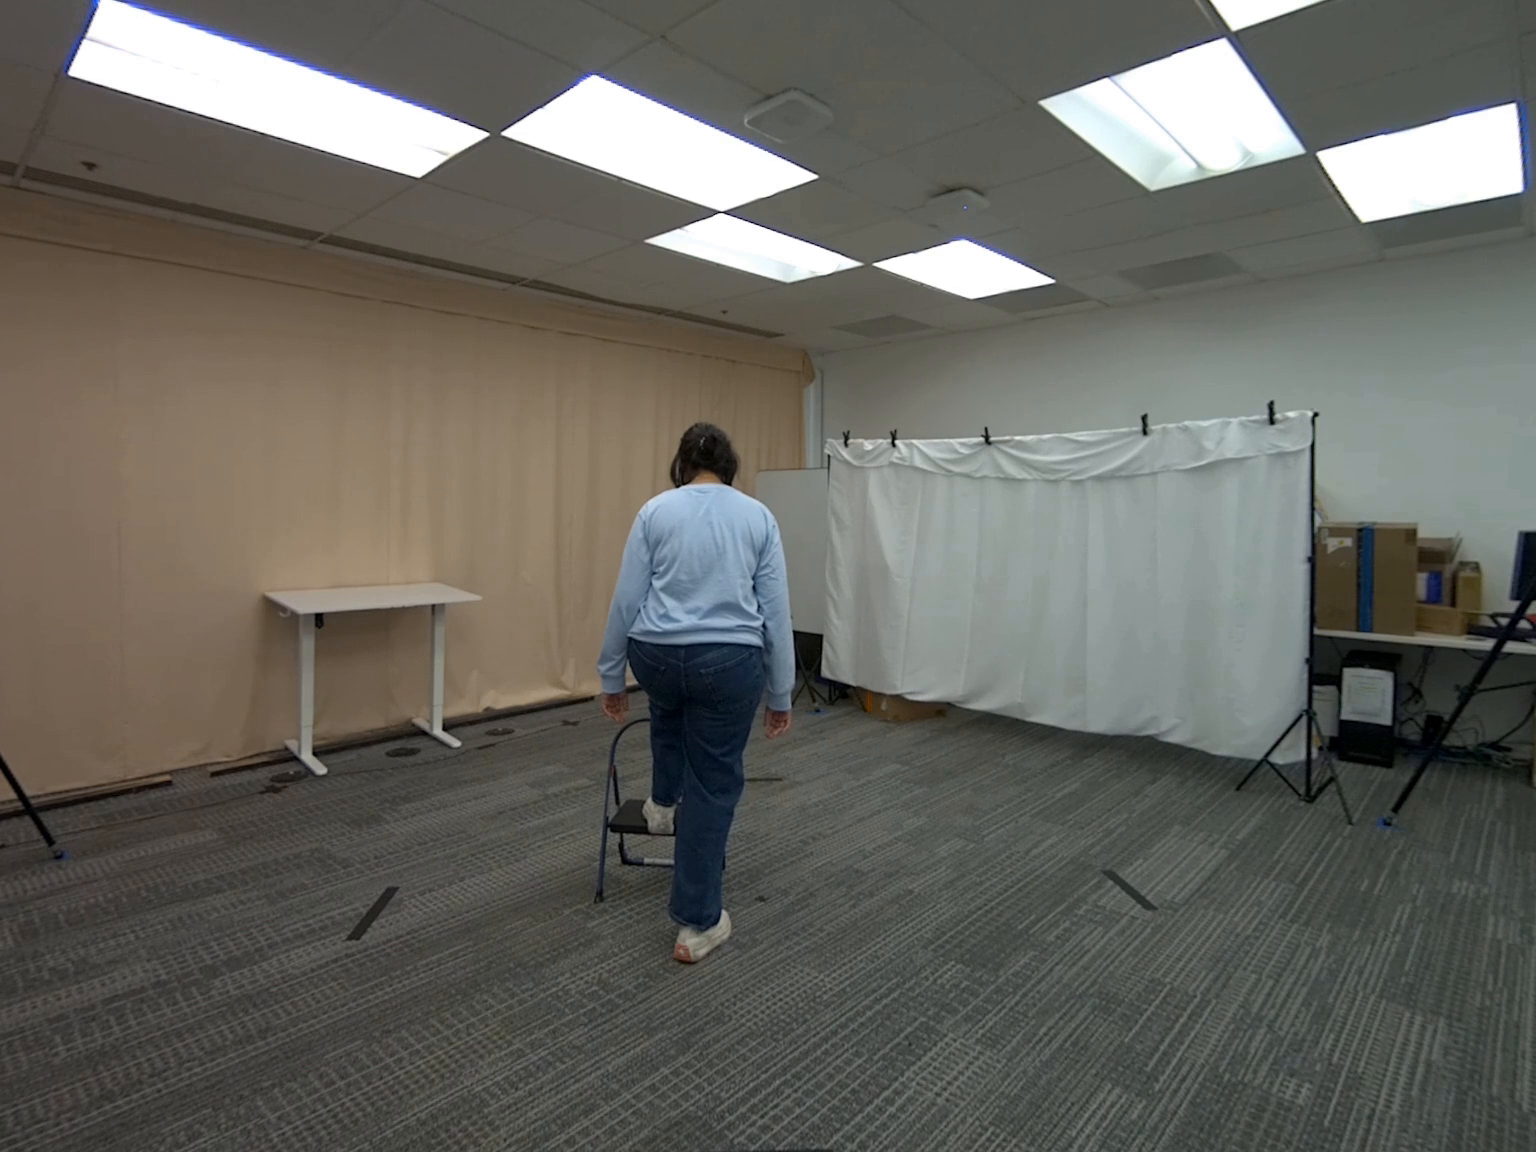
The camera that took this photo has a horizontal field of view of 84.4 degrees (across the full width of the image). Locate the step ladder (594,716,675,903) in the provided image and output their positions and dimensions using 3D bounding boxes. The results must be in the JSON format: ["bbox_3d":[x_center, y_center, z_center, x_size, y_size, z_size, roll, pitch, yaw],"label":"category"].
[{"bbox_3d":[-0.386,0.839,3.086,0.435,0.605,0.347,0,4,8],"label":"step ladder"}]
